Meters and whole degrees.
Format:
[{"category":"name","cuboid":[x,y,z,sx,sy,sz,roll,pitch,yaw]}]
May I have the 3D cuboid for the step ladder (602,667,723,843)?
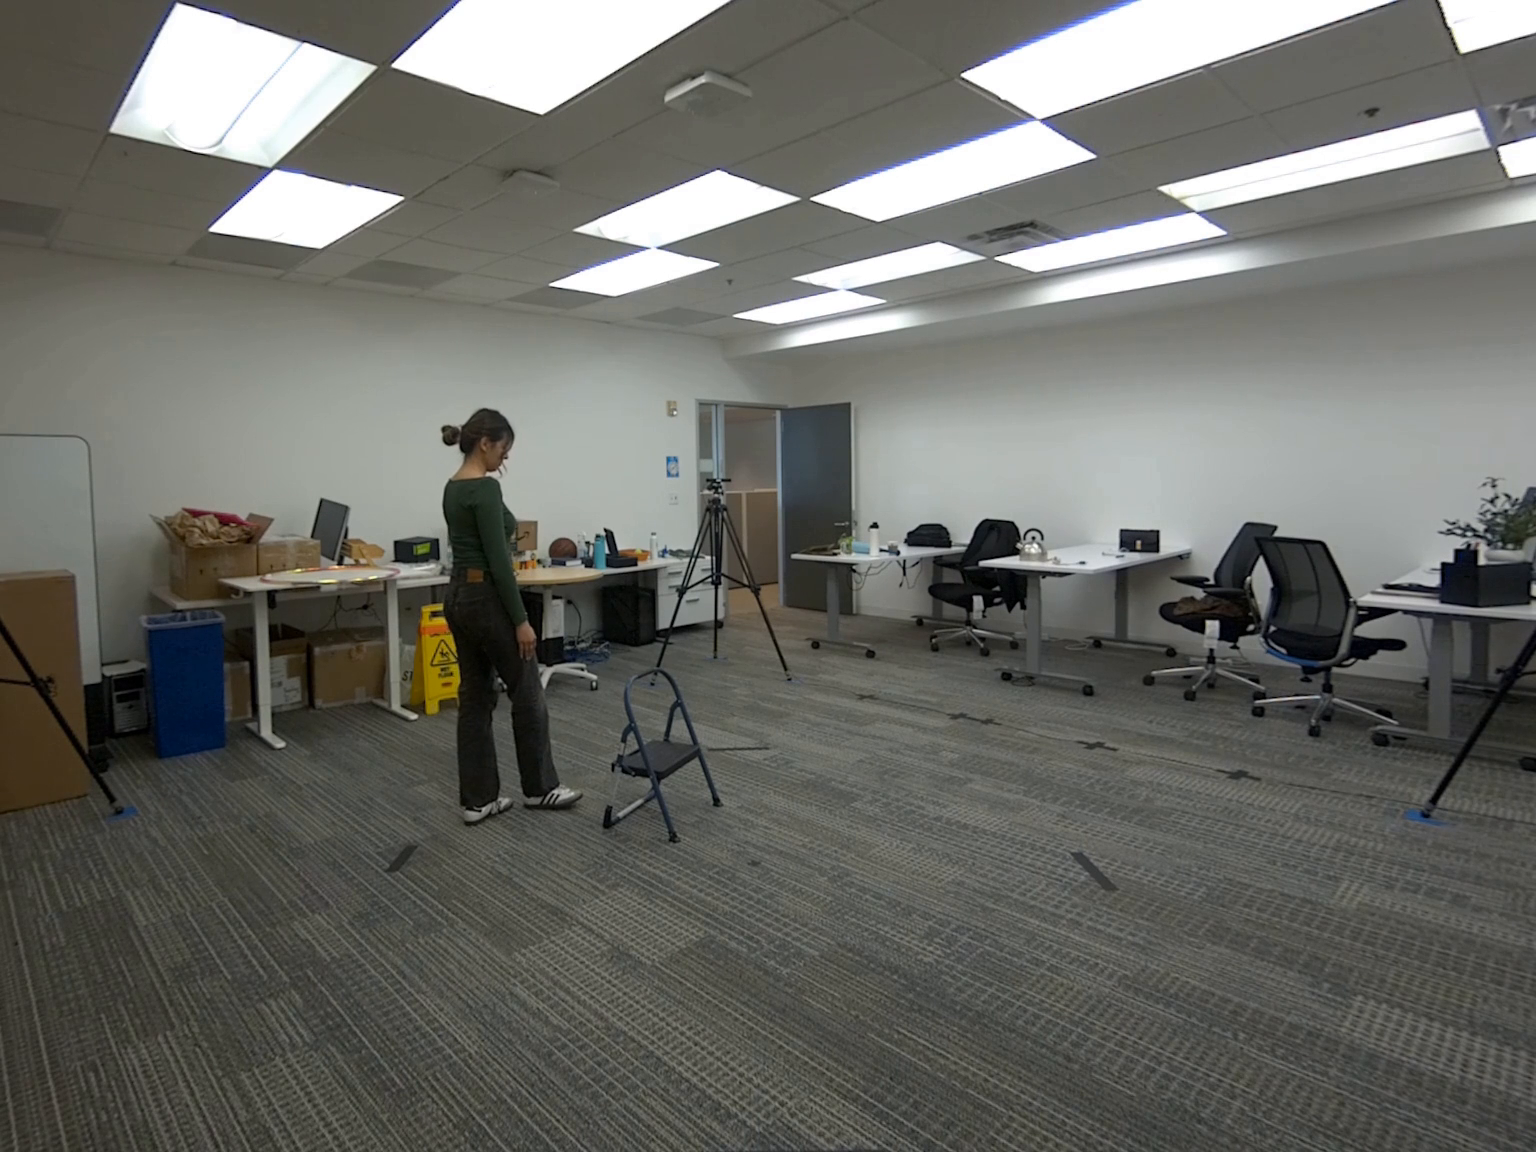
[{"category":"step ladder","cuboid":[-0.438,0.699,3.535,0.357,0.604,0.423,0,4,24]}]
